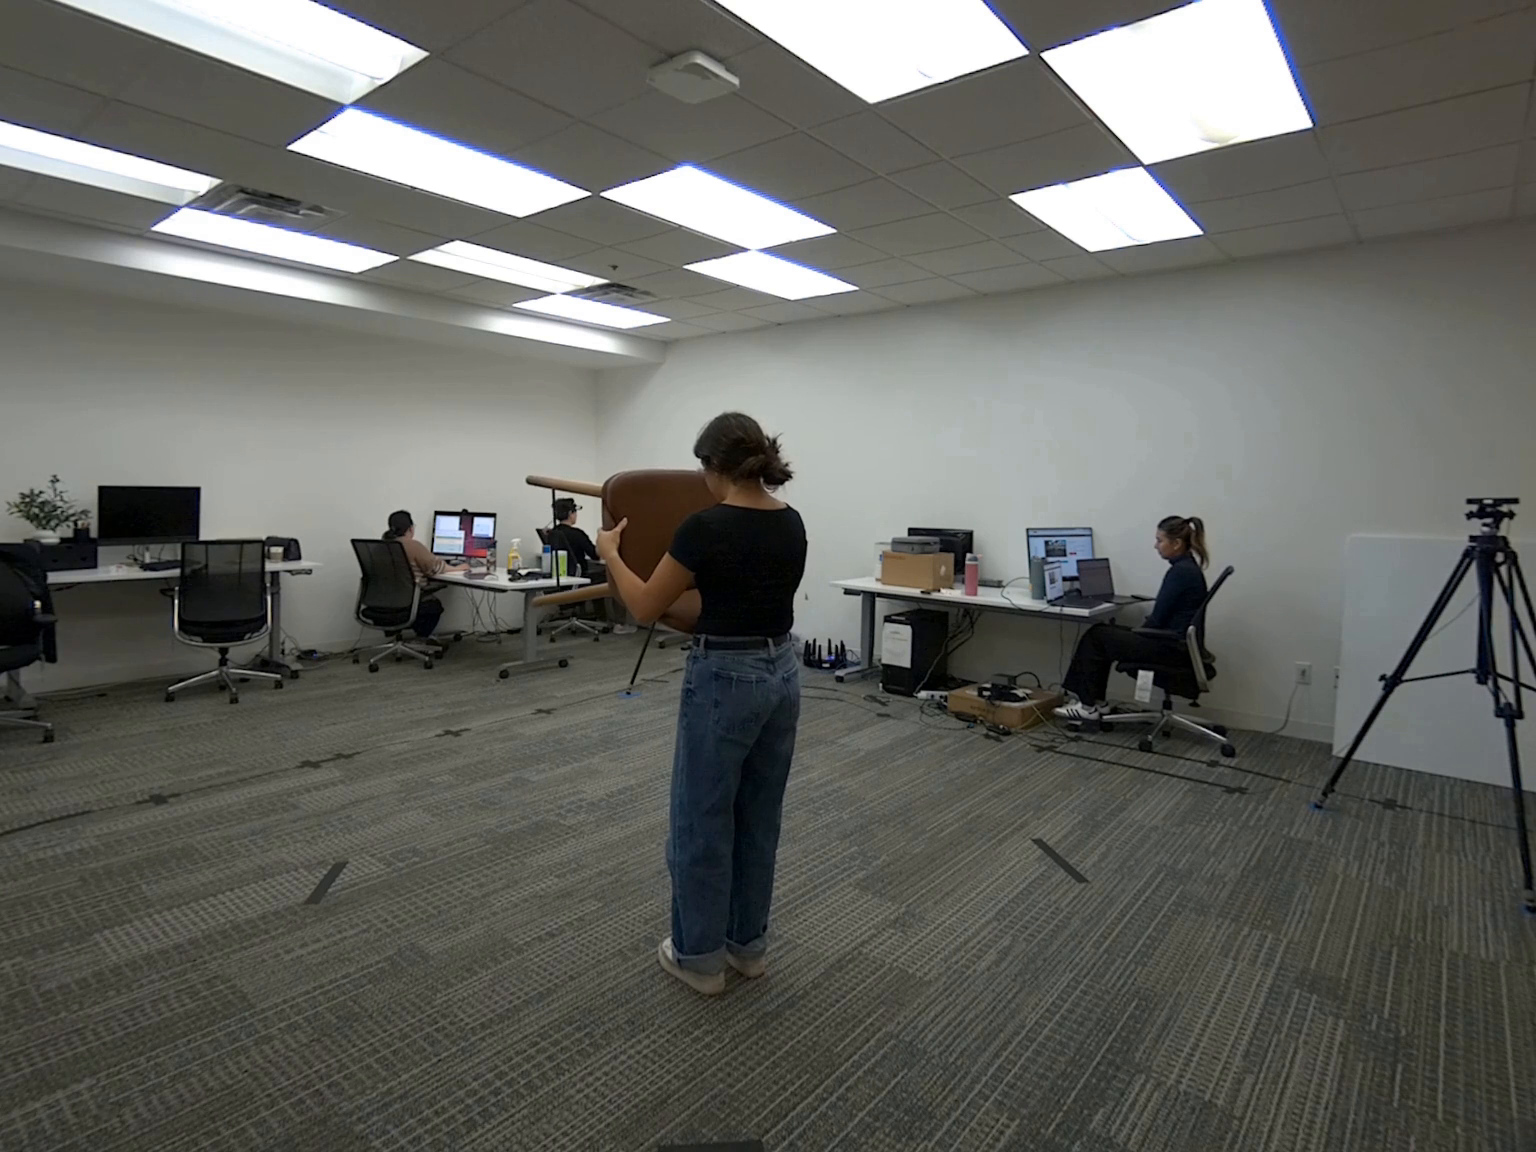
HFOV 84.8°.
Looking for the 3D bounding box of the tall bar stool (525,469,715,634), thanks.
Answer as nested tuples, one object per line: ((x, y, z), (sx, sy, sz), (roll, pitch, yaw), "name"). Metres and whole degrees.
((-0.412, -0.103, 2.714), (0.443, 0.466, 0.920), (-2, 5, -41), "tall bar stool")
